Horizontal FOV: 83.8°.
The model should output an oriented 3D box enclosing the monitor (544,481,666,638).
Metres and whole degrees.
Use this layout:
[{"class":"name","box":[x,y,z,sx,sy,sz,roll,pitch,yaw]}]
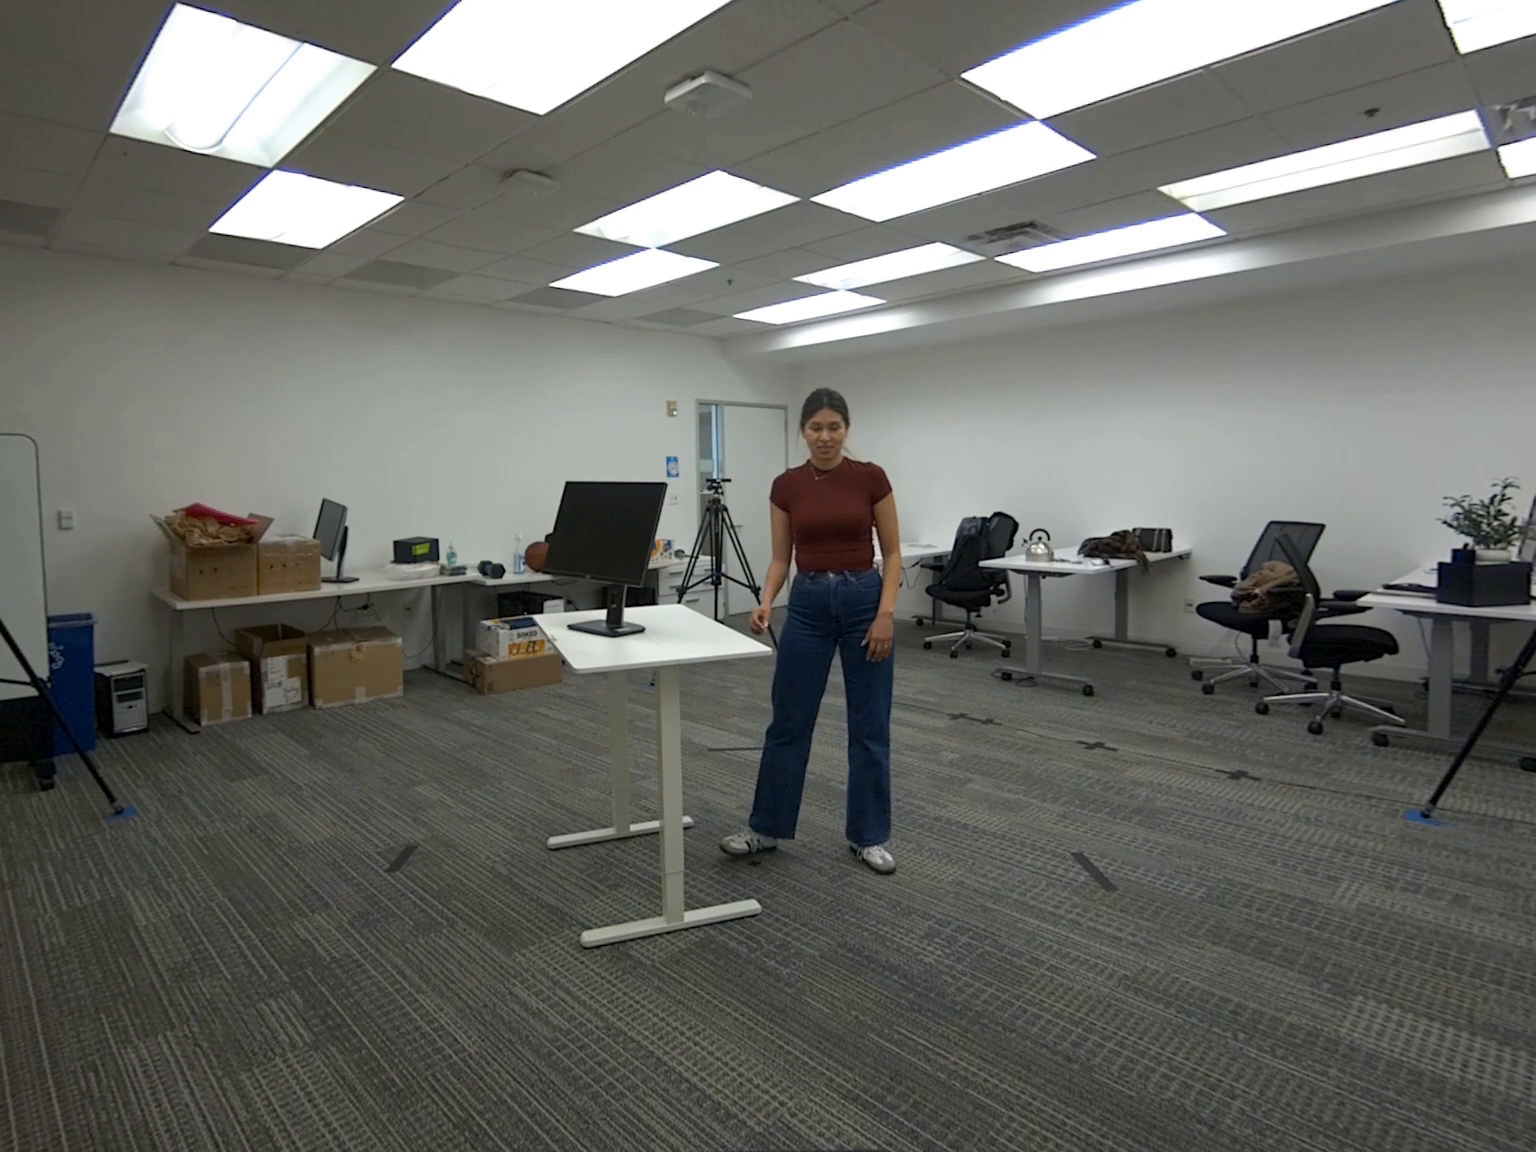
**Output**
[{"class":"monitor","box":[-0.555,-0.067,2.963,0.555,0.522,0.182,5,3,39]}]
